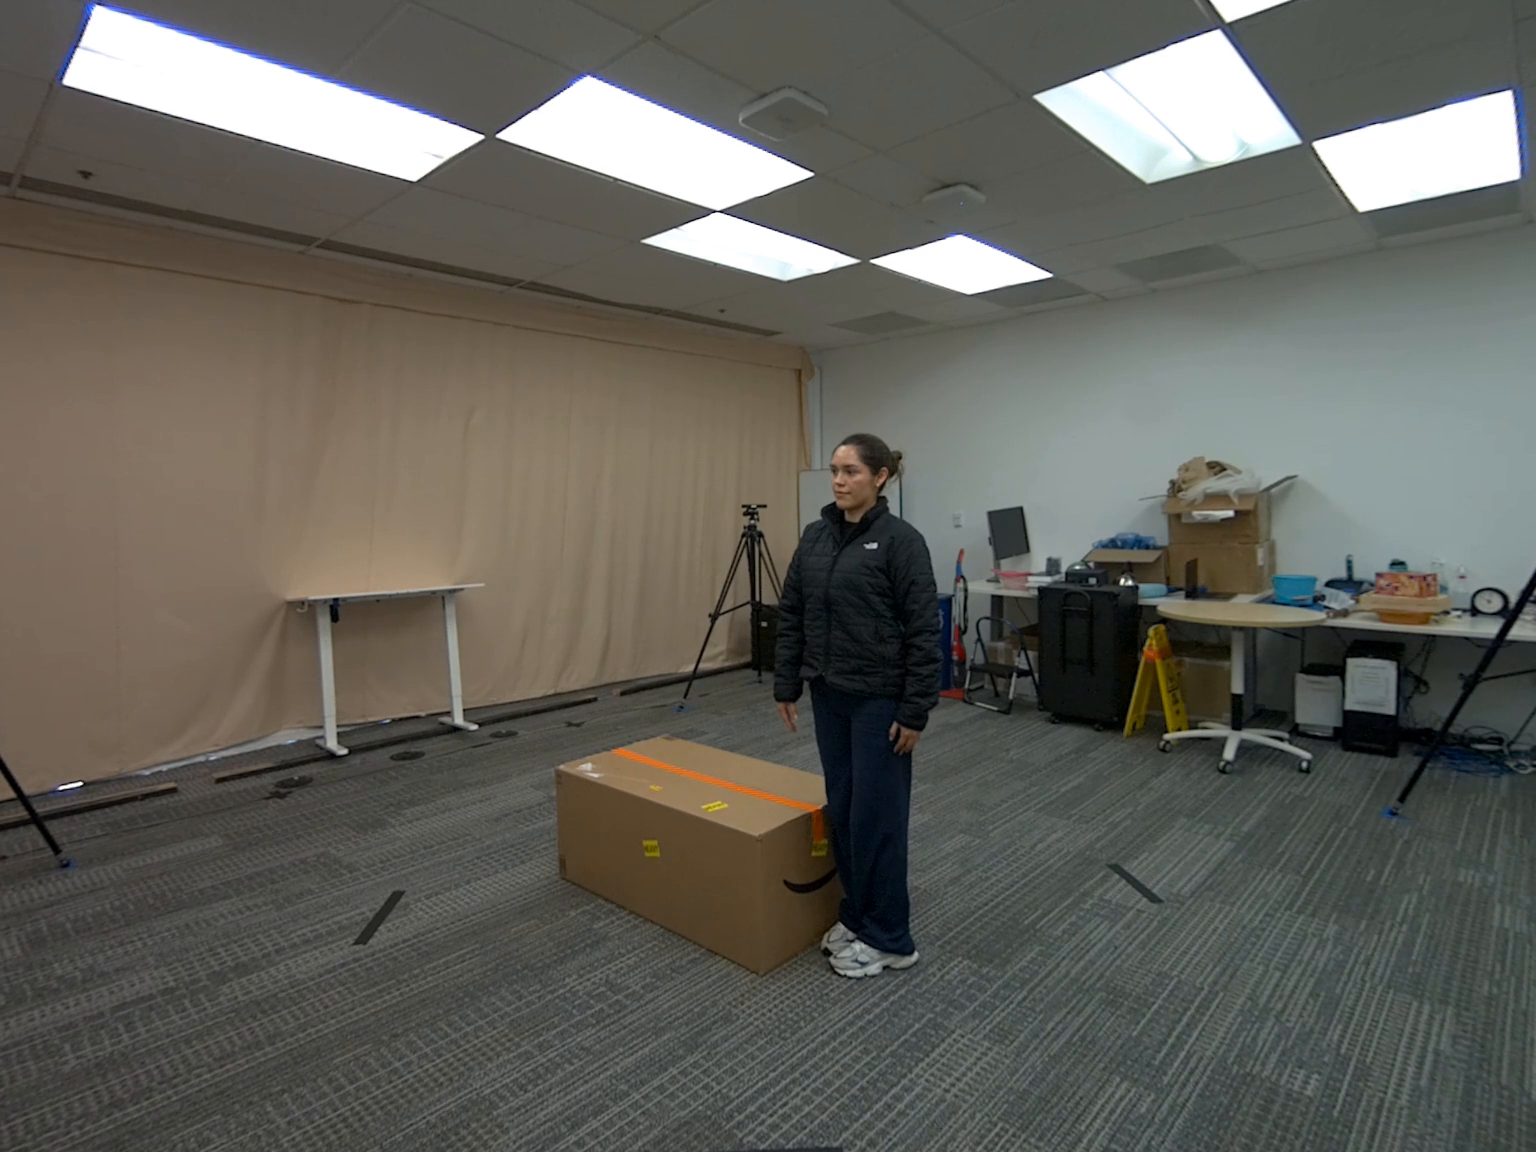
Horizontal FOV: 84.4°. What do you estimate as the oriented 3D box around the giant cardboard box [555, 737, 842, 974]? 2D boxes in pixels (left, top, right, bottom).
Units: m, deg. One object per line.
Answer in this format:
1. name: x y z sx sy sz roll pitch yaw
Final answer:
1. giant cardboard box: -0.211 0.931 3.031 1.061 0.446 0.566 2 4 42
